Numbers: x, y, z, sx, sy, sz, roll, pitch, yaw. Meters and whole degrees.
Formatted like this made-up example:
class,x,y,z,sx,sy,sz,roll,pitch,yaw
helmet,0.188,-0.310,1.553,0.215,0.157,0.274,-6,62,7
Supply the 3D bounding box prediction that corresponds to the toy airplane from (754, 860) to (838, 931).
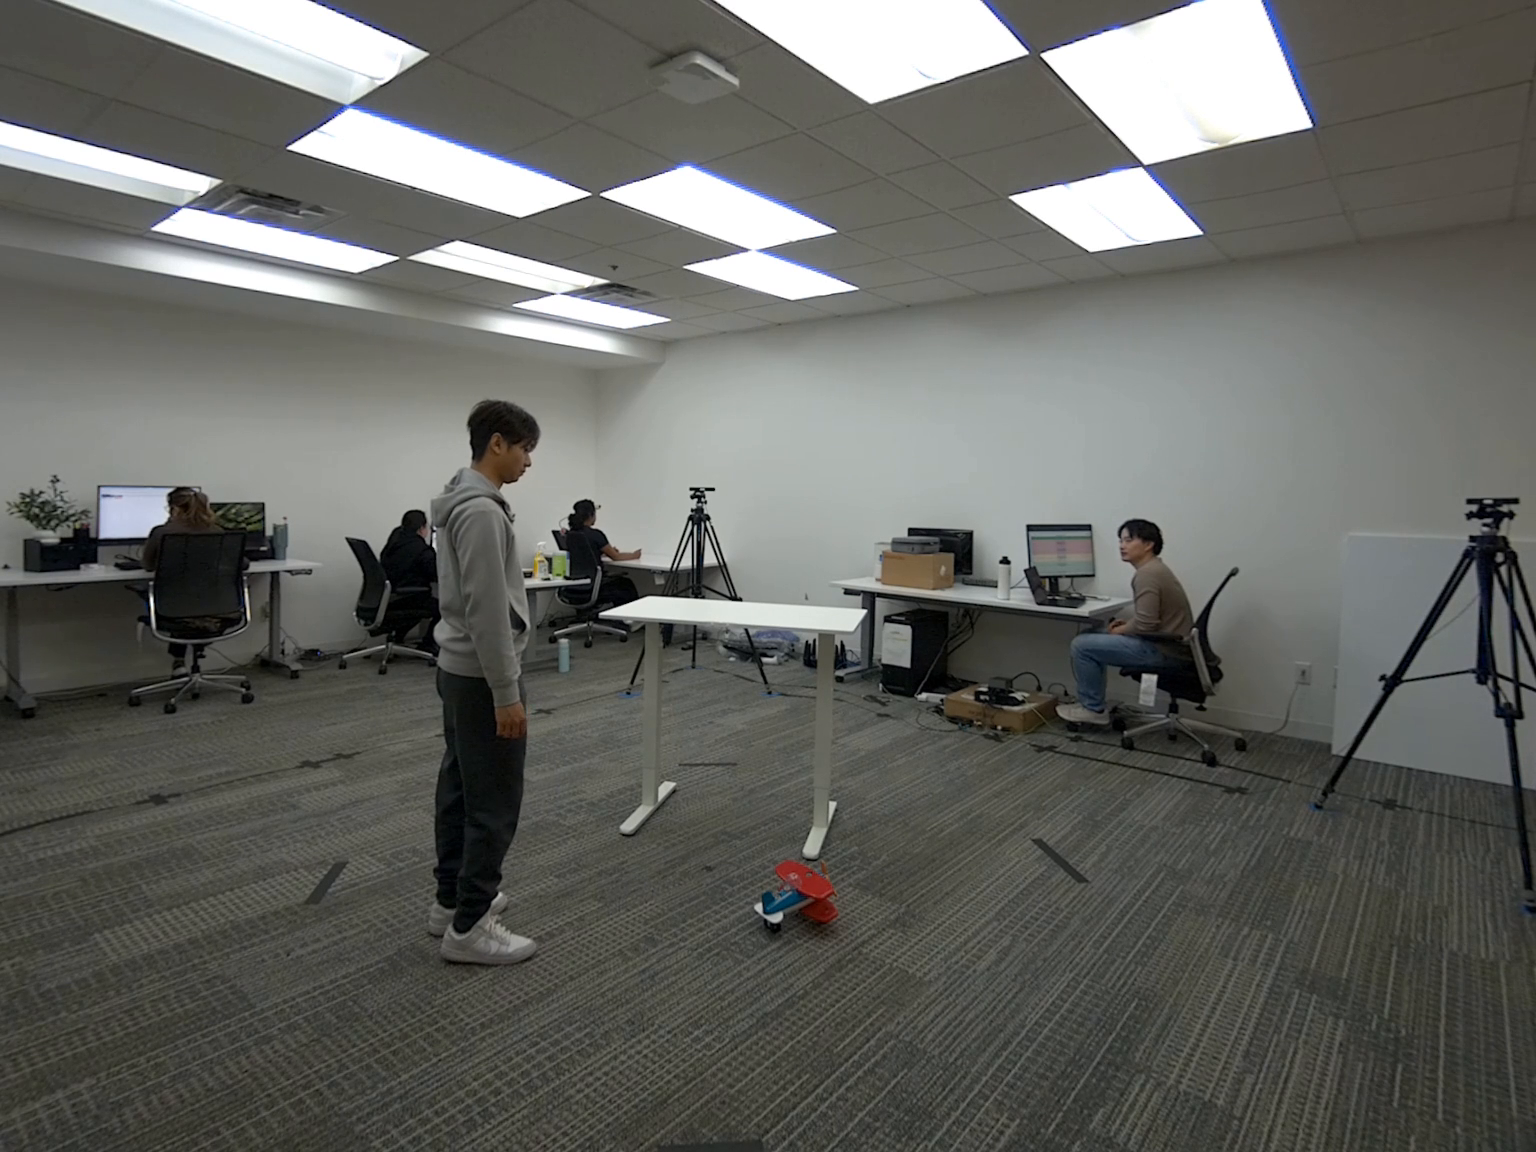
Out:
class,x,y,z,sx,sy,sz,roll,pitch,yaw
toy airplane,0.094,1.041,2.713,0.258,0.156,0.252,5,4,29
